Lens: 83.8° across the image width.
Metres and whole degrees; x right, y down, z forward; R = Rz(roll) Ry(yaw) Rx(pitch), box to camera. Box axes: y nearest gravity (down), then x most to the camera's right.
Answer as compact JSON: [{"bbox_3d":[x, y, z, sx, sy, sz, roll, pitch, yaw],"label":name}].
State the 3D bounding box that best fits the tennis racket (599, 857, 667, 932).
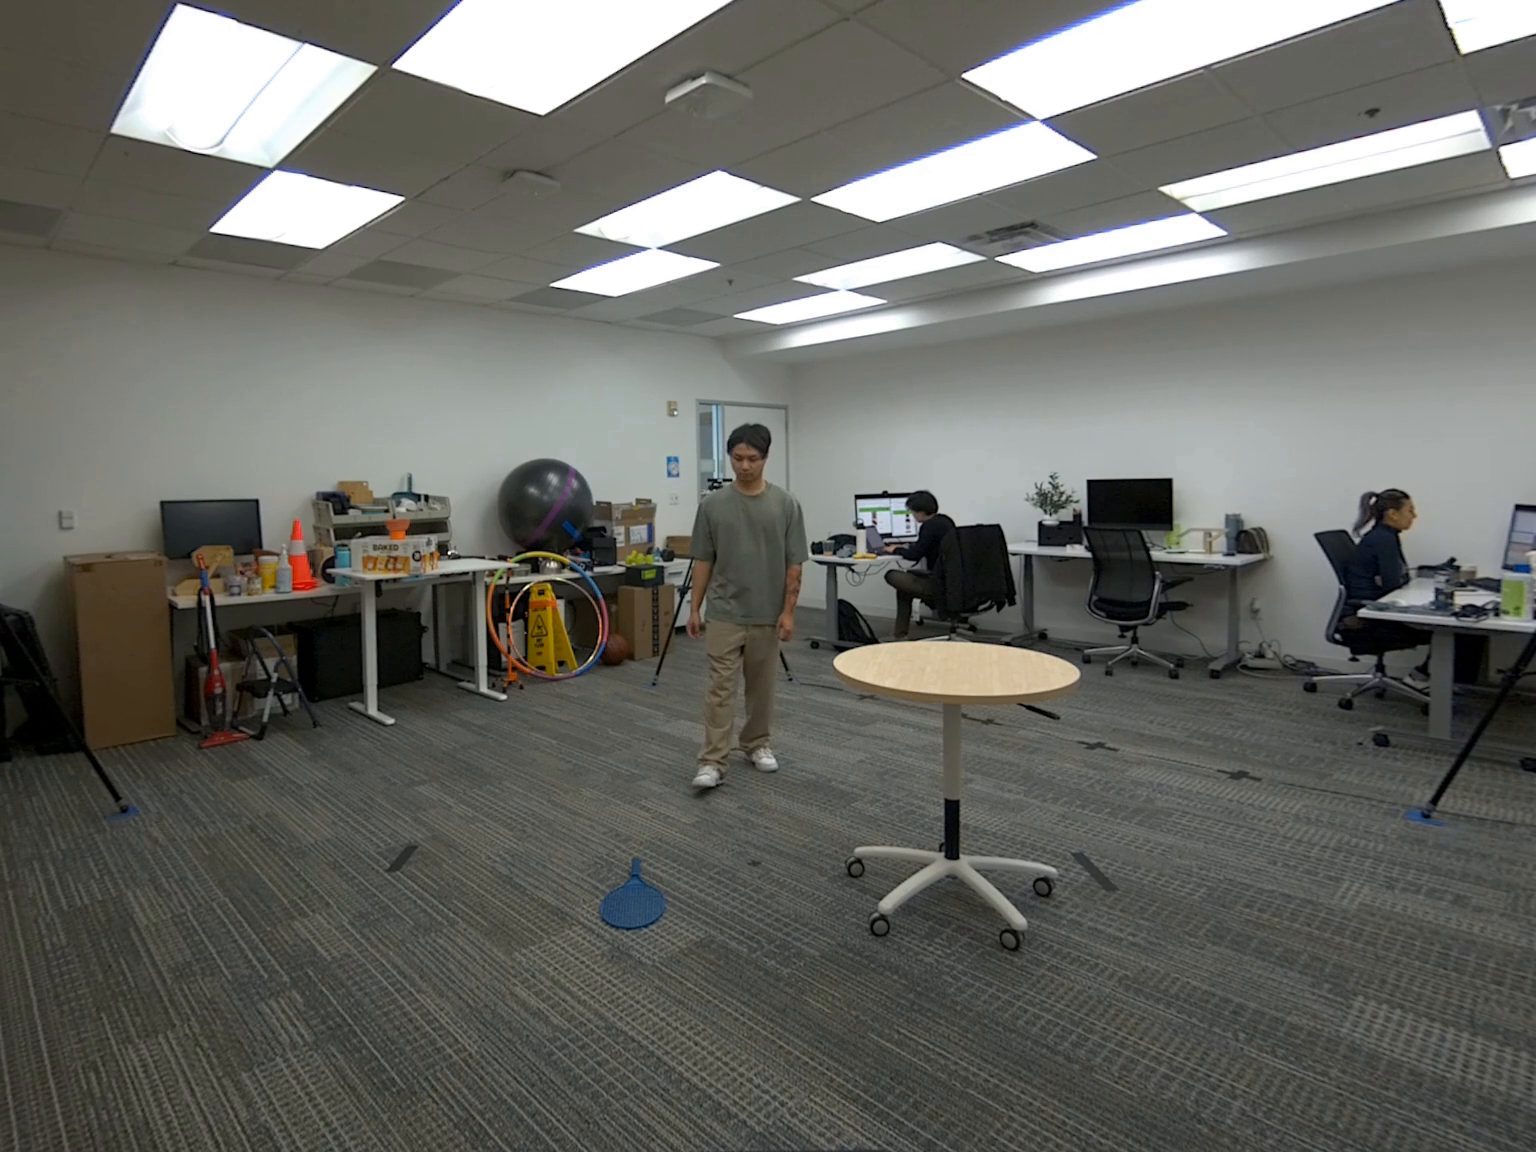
[{"bbox_3d":[-0.449,1.064,2.880,0.212,0.031,0.438,-3,8,-7],"label":"tennis racket"}]
